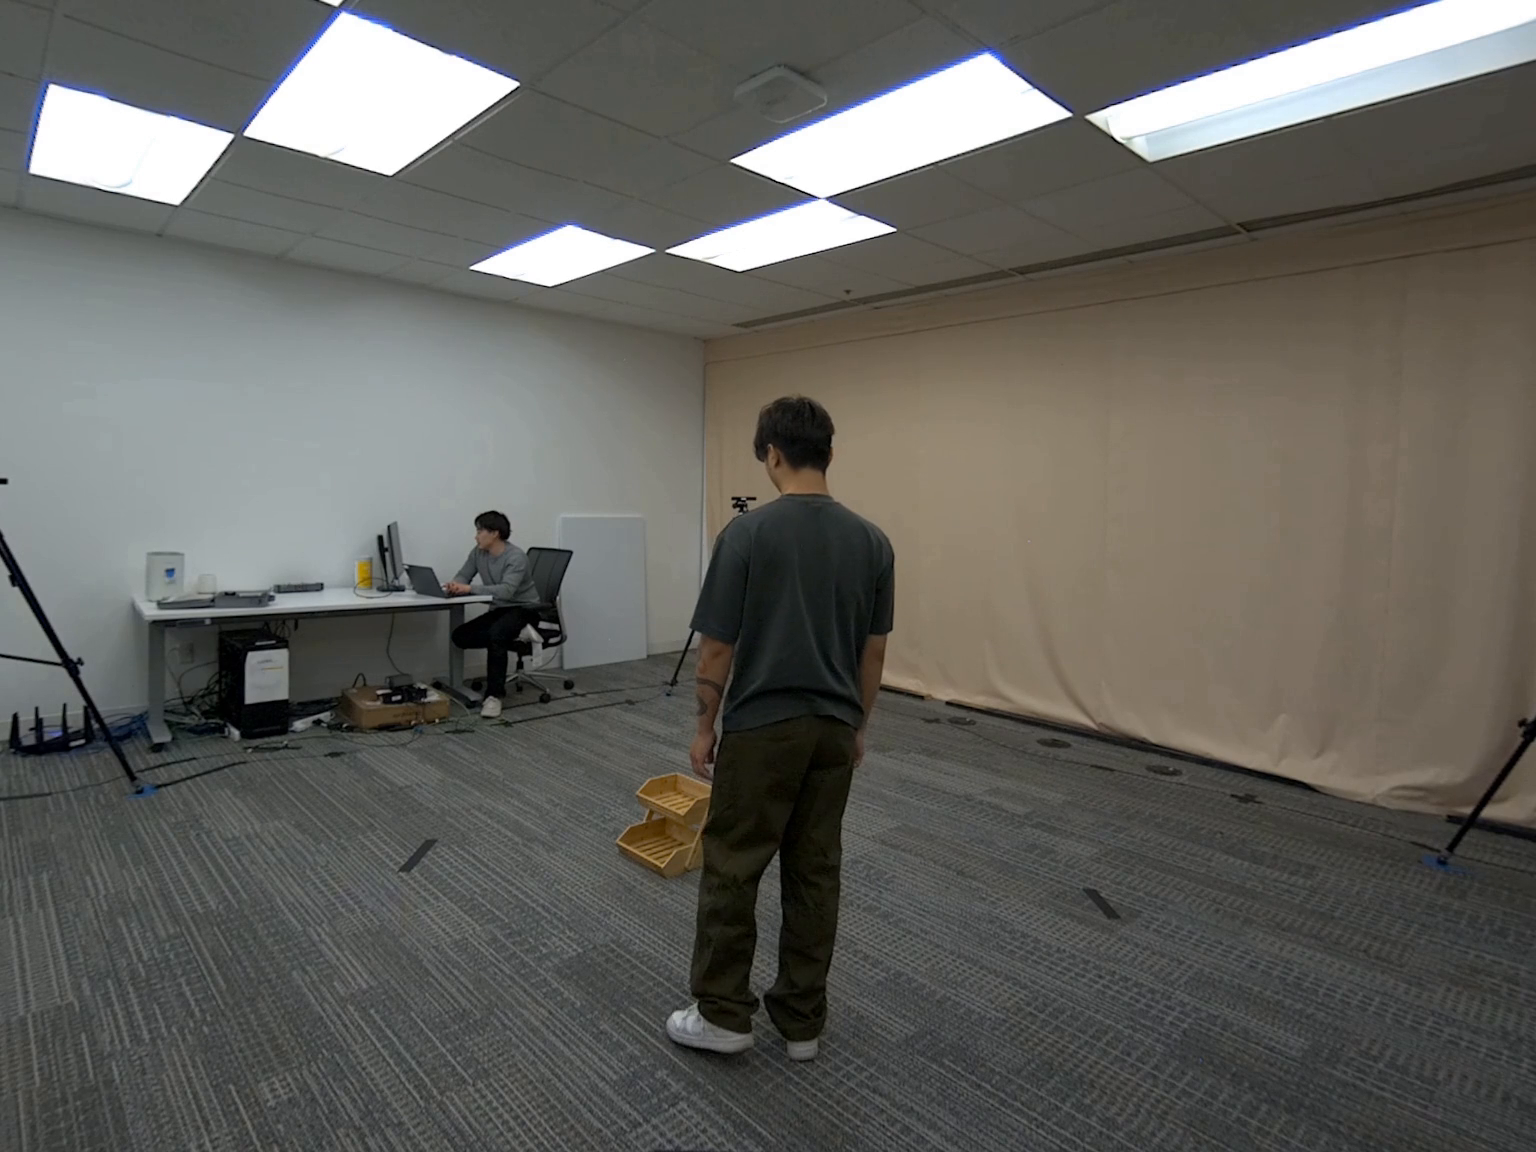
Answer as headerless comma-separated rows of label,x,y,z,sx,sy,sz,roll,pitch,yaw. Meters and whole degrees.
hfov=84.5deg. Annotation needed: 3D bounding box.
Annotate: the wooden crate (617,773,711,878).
wooden crate,-0.389,0.955,3.262,0.295,0.272,0.333,-2,6,-43
